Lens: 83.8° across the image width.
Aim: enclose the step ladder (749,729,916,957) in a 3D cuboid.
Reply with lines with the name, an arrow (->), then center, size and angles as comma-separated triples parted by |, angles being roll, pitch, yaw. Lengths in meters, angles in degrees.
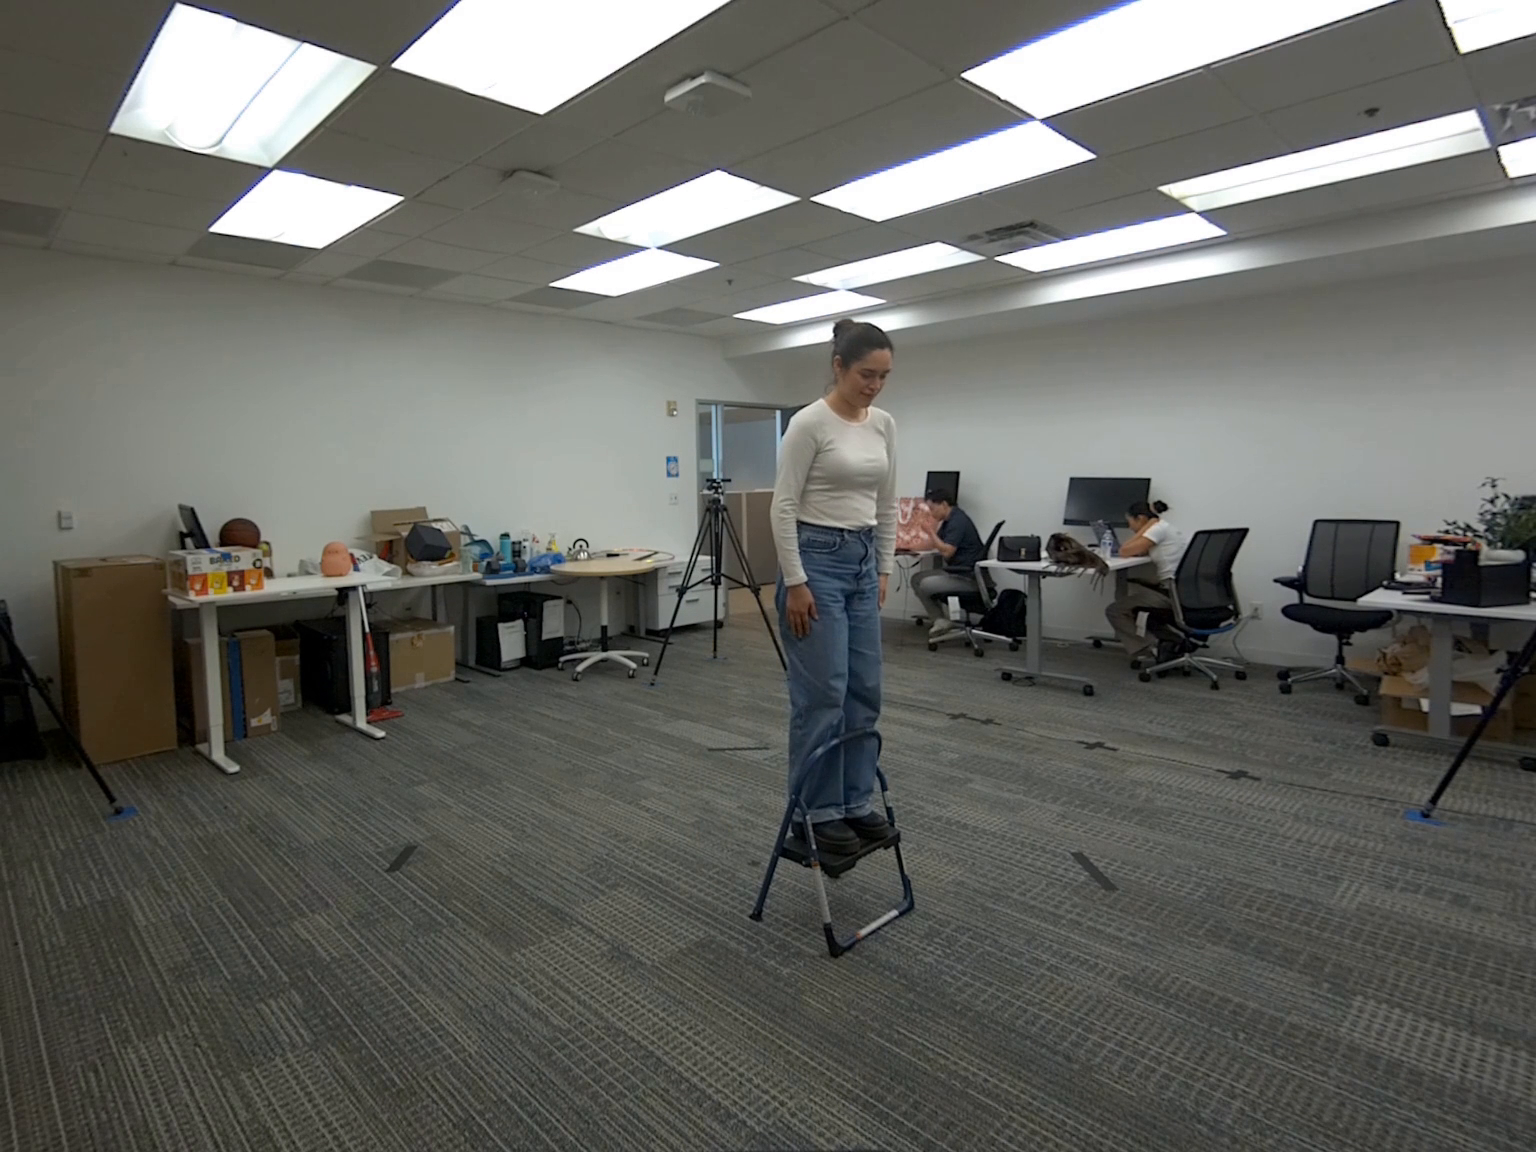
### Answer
step ladder -> 0.208, 0.782, 2.727 | 0.360, 0.604, 0.419 | 3, 6, 44
